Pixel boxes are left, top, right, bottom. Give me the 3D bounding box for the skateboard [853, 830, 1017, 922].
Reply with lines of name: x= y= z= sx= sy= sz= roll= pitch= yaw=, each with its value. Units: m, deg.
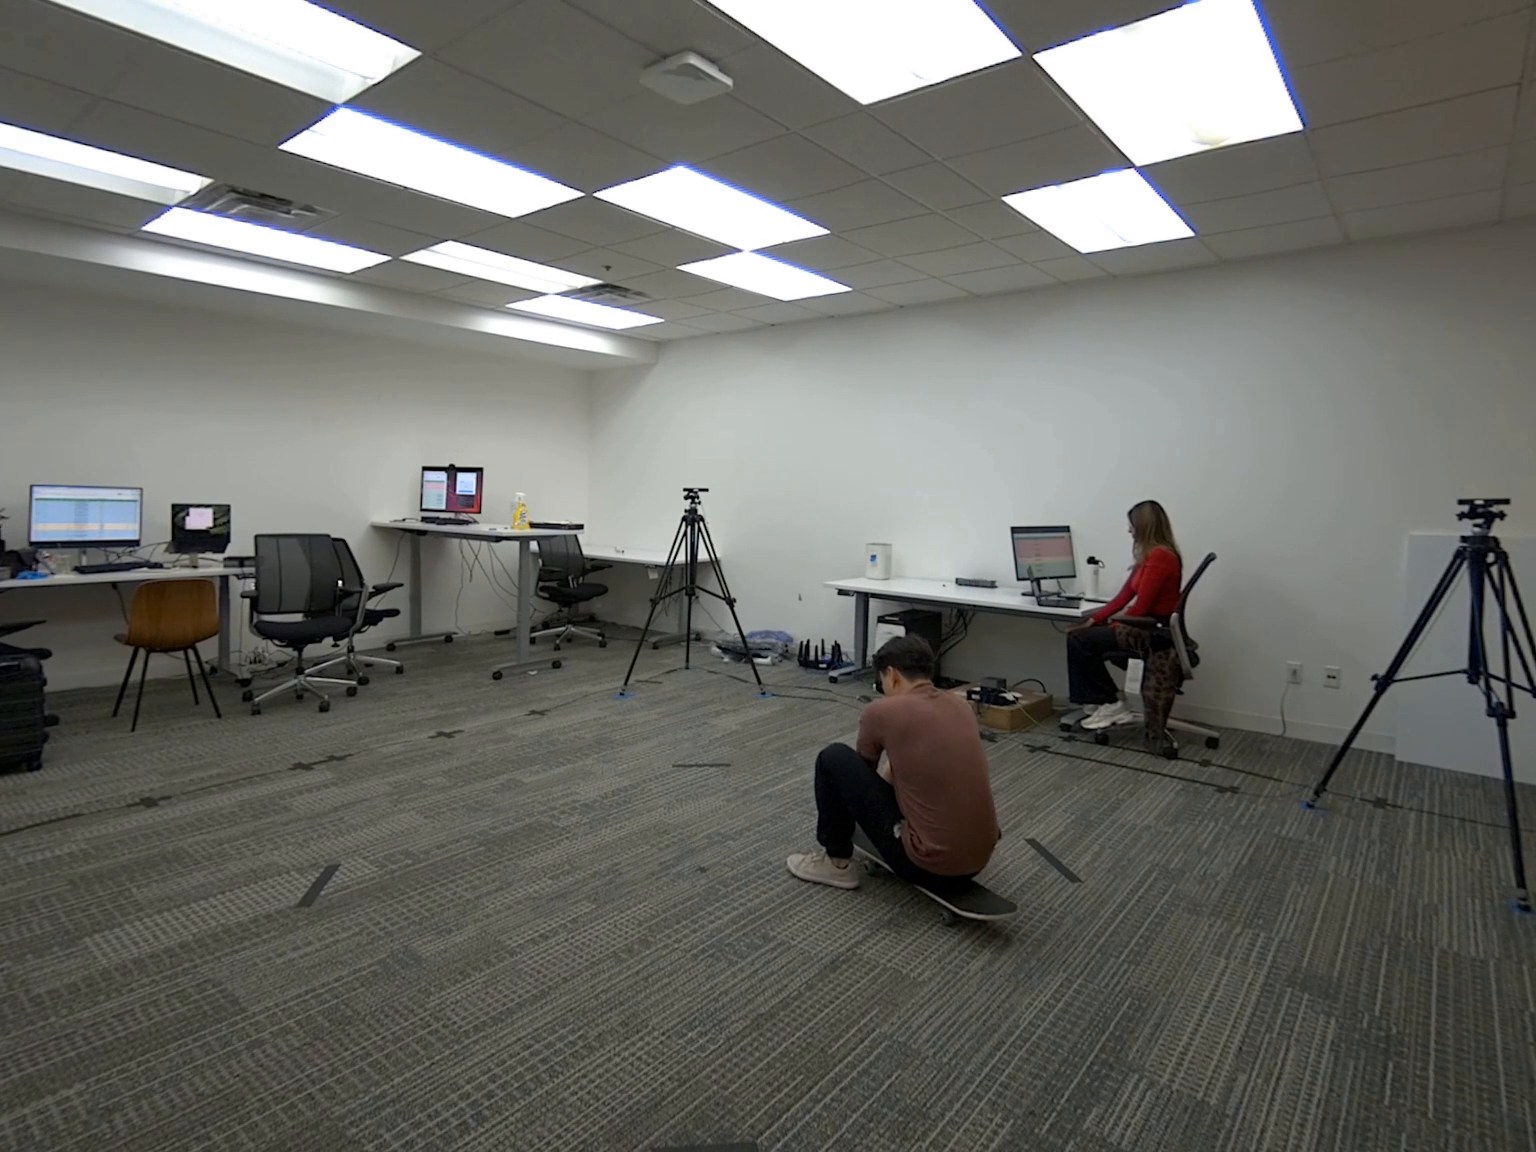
skateboard: x=0.541 y=1.045 z=2.965 sx=0.189 sy=0.110 sz=0.809 roll=-3 pitch=7 yaw=-28
